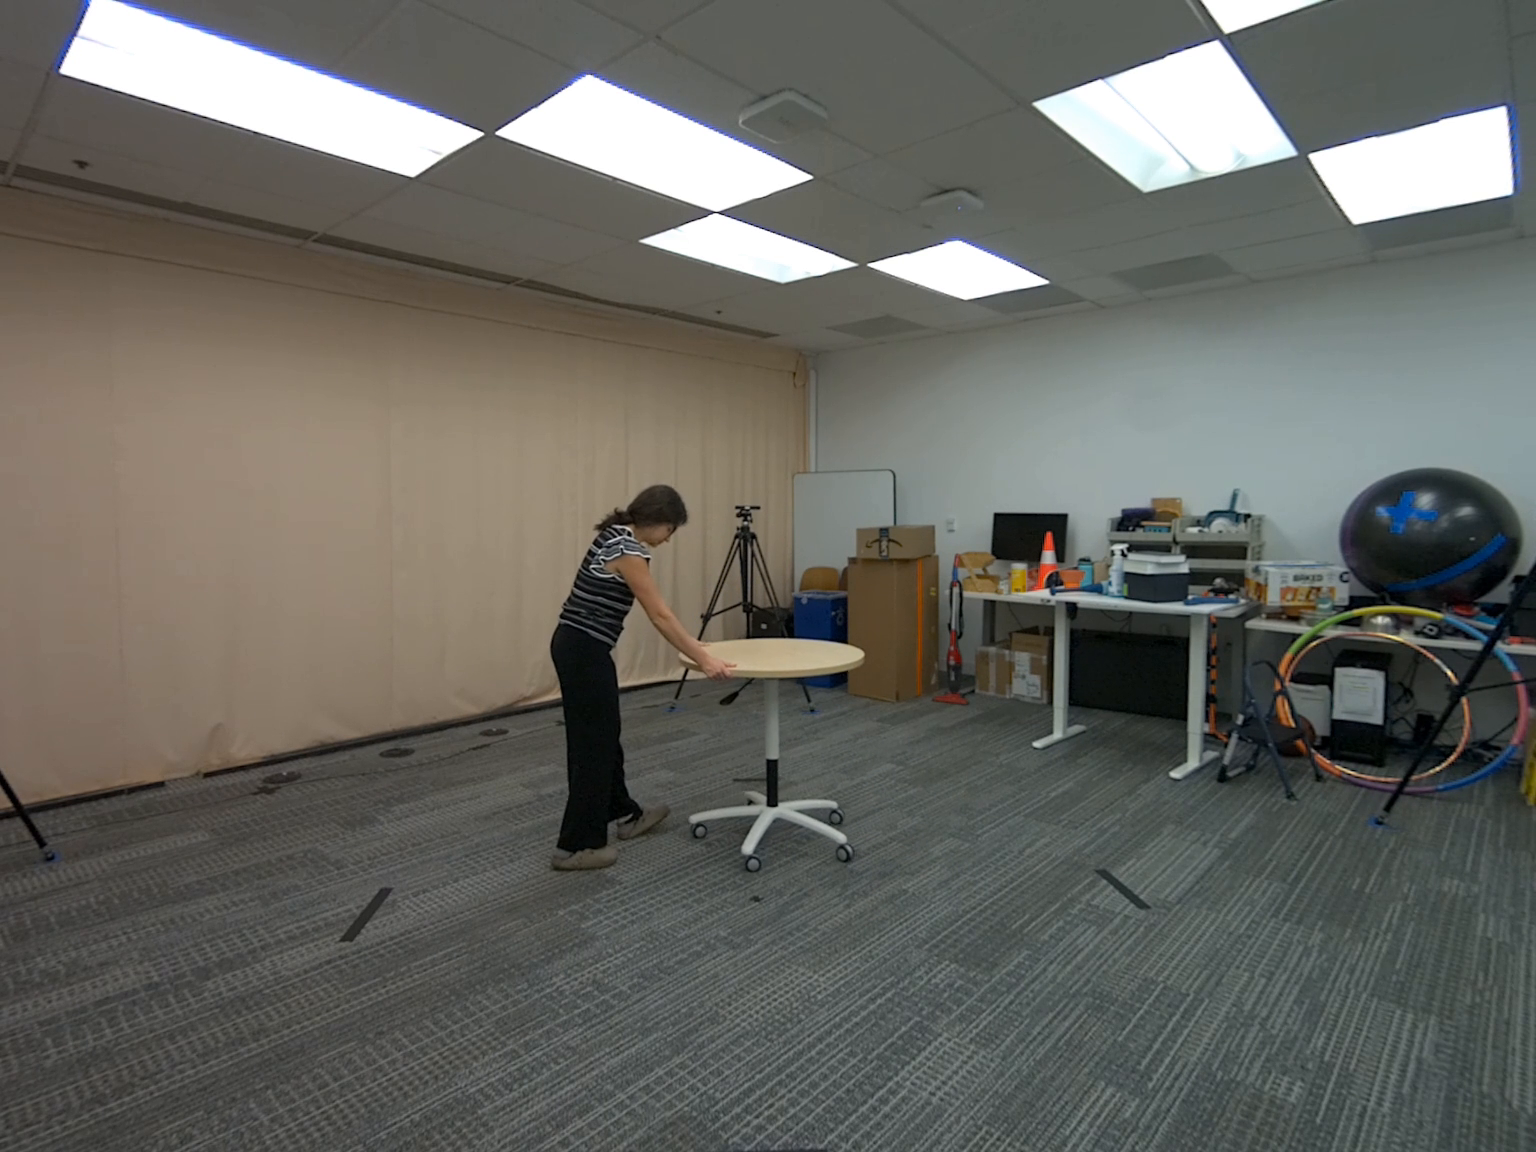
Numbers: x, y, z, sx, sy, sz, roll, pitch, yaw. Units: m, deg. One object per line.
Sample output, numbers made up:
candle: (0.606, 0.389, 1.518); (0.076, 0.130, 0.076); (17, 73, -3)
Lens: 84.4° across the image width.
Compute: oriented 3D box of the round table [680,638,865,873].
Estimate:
round table: (0.027, 0.715, 3.501); (0.763, 0.792, 0.766); (-1, 3, -2)
